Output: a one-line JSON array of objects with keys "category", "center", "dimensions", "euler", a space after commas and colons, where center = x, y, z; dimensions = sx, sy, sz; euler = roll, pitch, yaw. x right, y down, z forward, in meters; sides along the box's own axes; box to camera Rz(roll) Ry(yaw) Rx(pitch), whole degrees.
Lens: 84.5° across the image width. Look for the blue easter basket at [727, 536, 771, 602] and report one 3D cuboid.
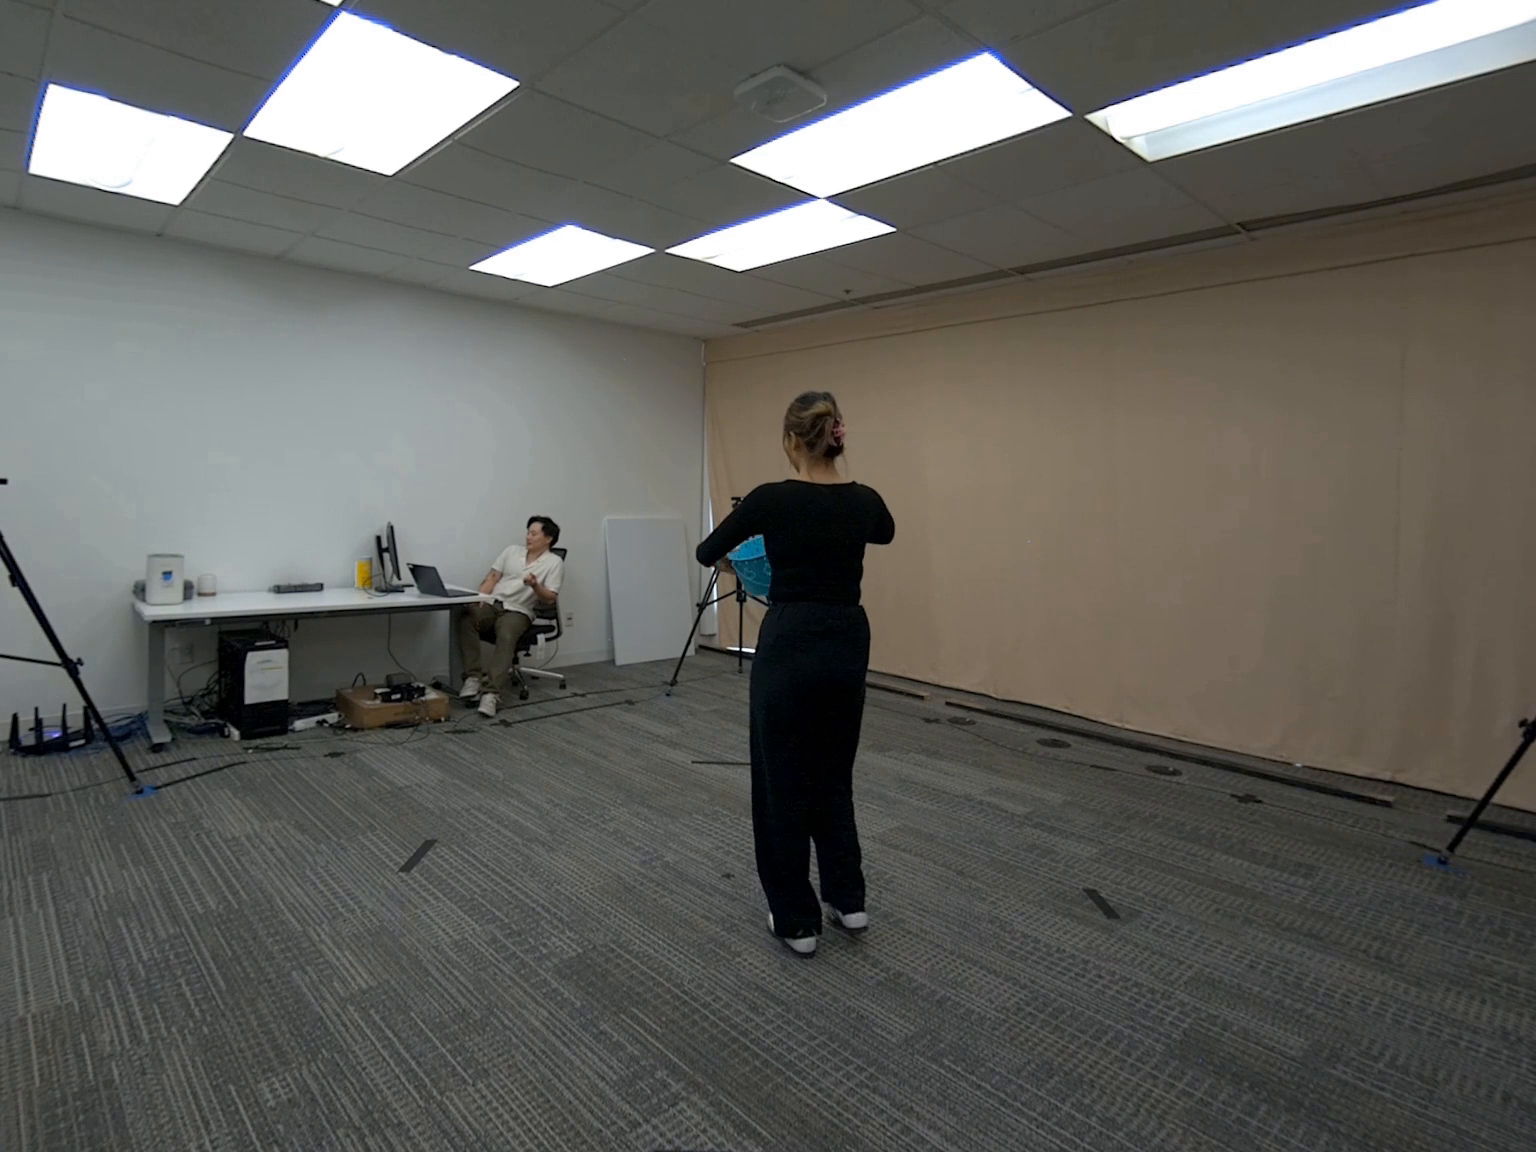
[{"category": "blue easter basket", "center": [-0.010, -0.027, 2.971], "dimensions": [0.244, 0.153, 0.247], "euler": [-15, 17, 3]}]
